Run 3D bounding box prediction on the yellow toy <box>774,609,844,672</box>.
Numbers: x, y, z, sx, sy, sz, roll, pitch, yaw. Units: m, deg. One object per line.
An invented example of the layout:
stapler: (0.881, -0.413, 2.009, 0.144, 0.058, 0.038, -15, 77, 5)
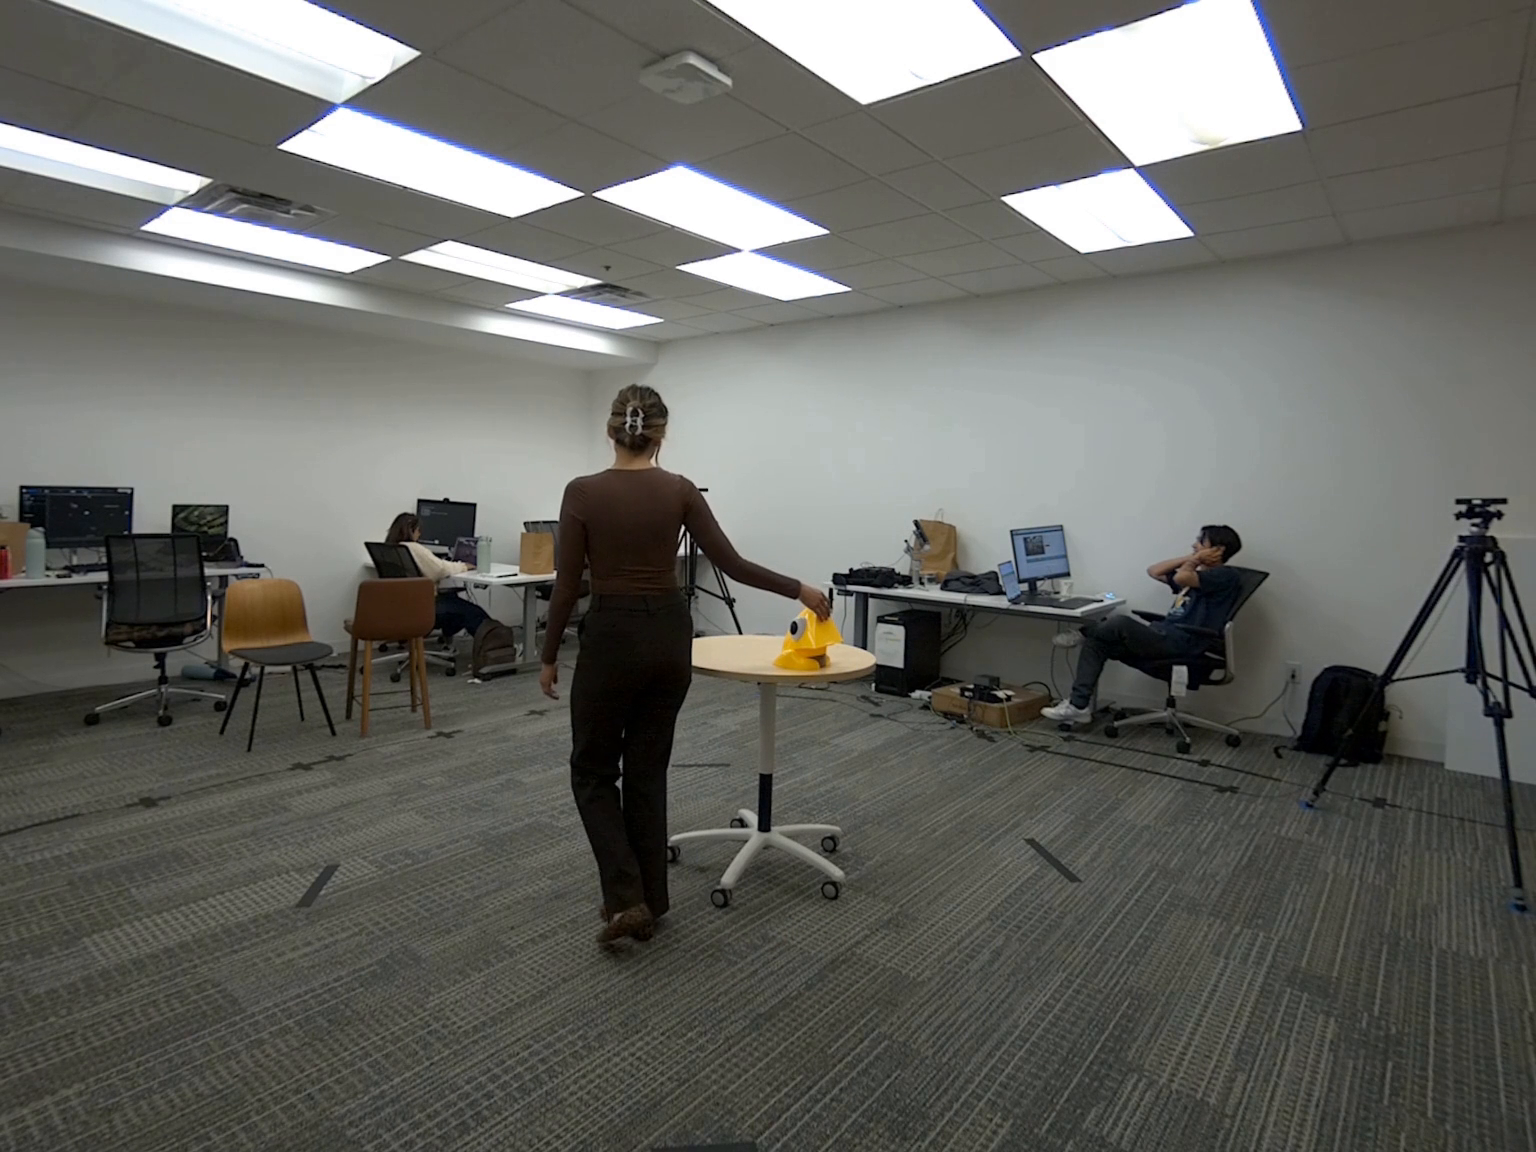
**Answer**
yellow toy: (0.124, 0.186, 2.898, 0.199, 0.230, 0.199, 3, 4, 33)
